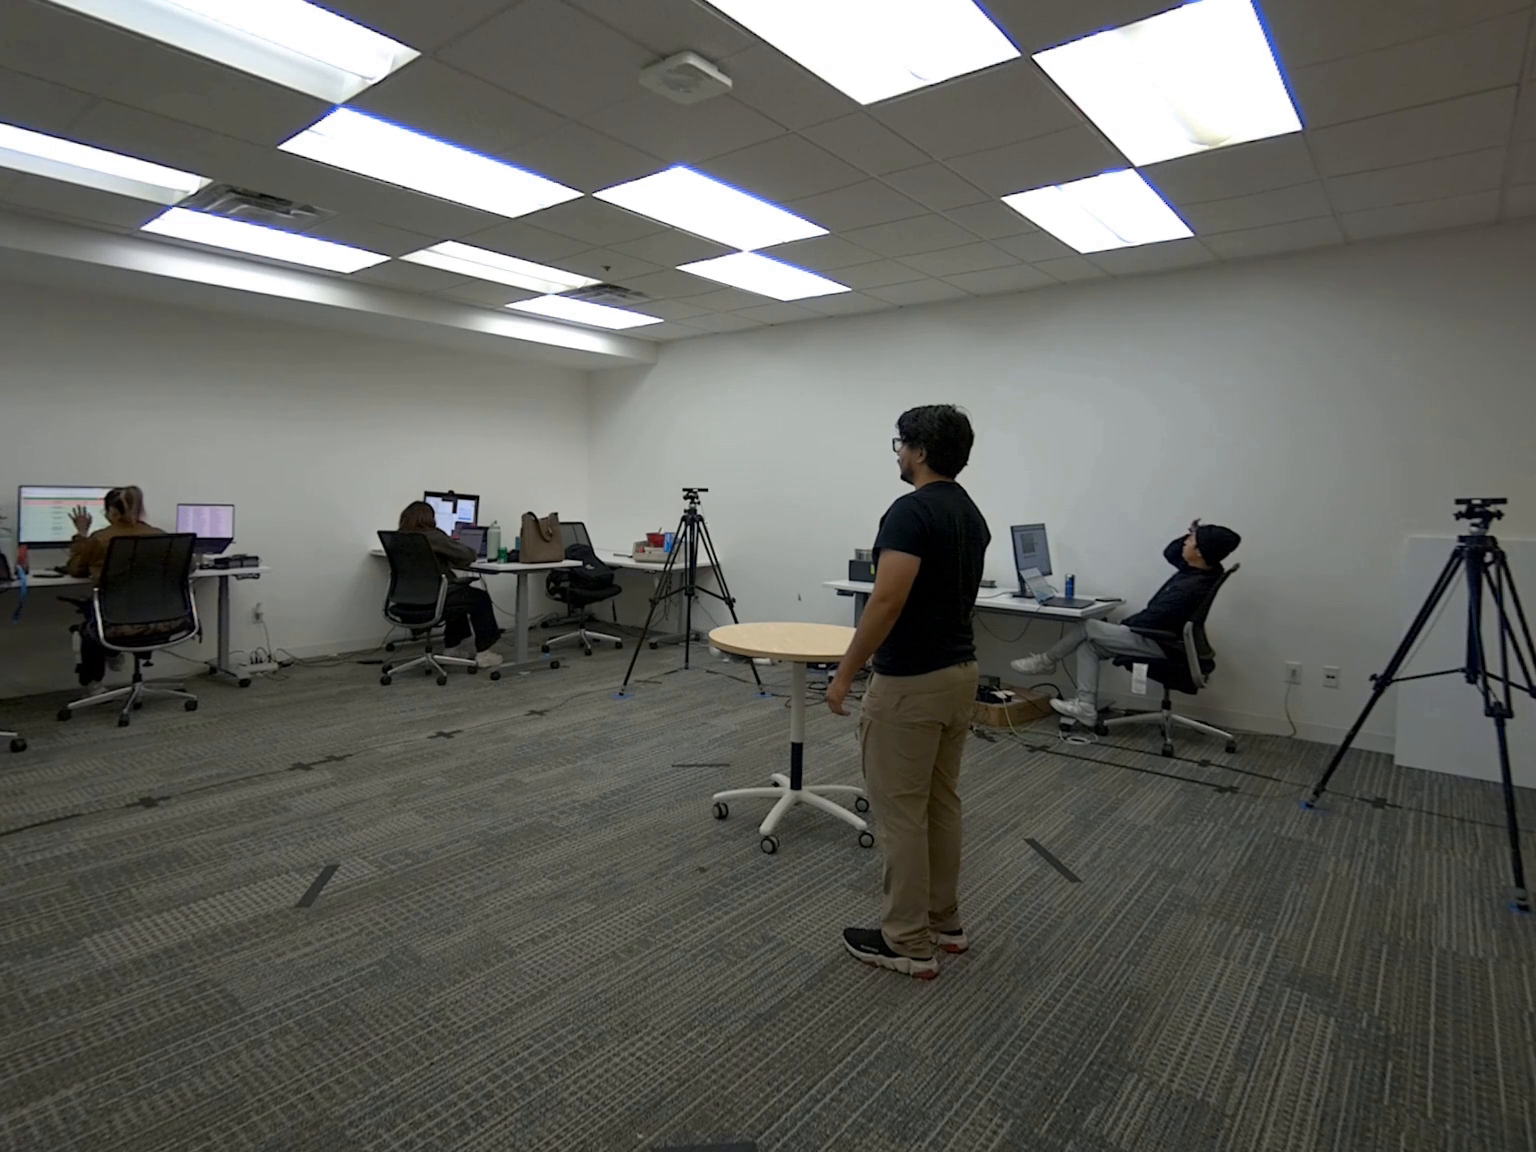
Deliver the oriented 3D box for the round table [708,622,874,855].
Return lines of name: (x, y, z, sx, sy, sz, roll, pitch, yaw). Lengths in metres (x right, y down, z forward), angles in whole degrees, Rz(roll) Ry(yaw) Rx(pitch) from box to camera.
round table: (0.103, 0.638, 3.564, 0.784, 0.784, 0.789, 1, 4, -2)
